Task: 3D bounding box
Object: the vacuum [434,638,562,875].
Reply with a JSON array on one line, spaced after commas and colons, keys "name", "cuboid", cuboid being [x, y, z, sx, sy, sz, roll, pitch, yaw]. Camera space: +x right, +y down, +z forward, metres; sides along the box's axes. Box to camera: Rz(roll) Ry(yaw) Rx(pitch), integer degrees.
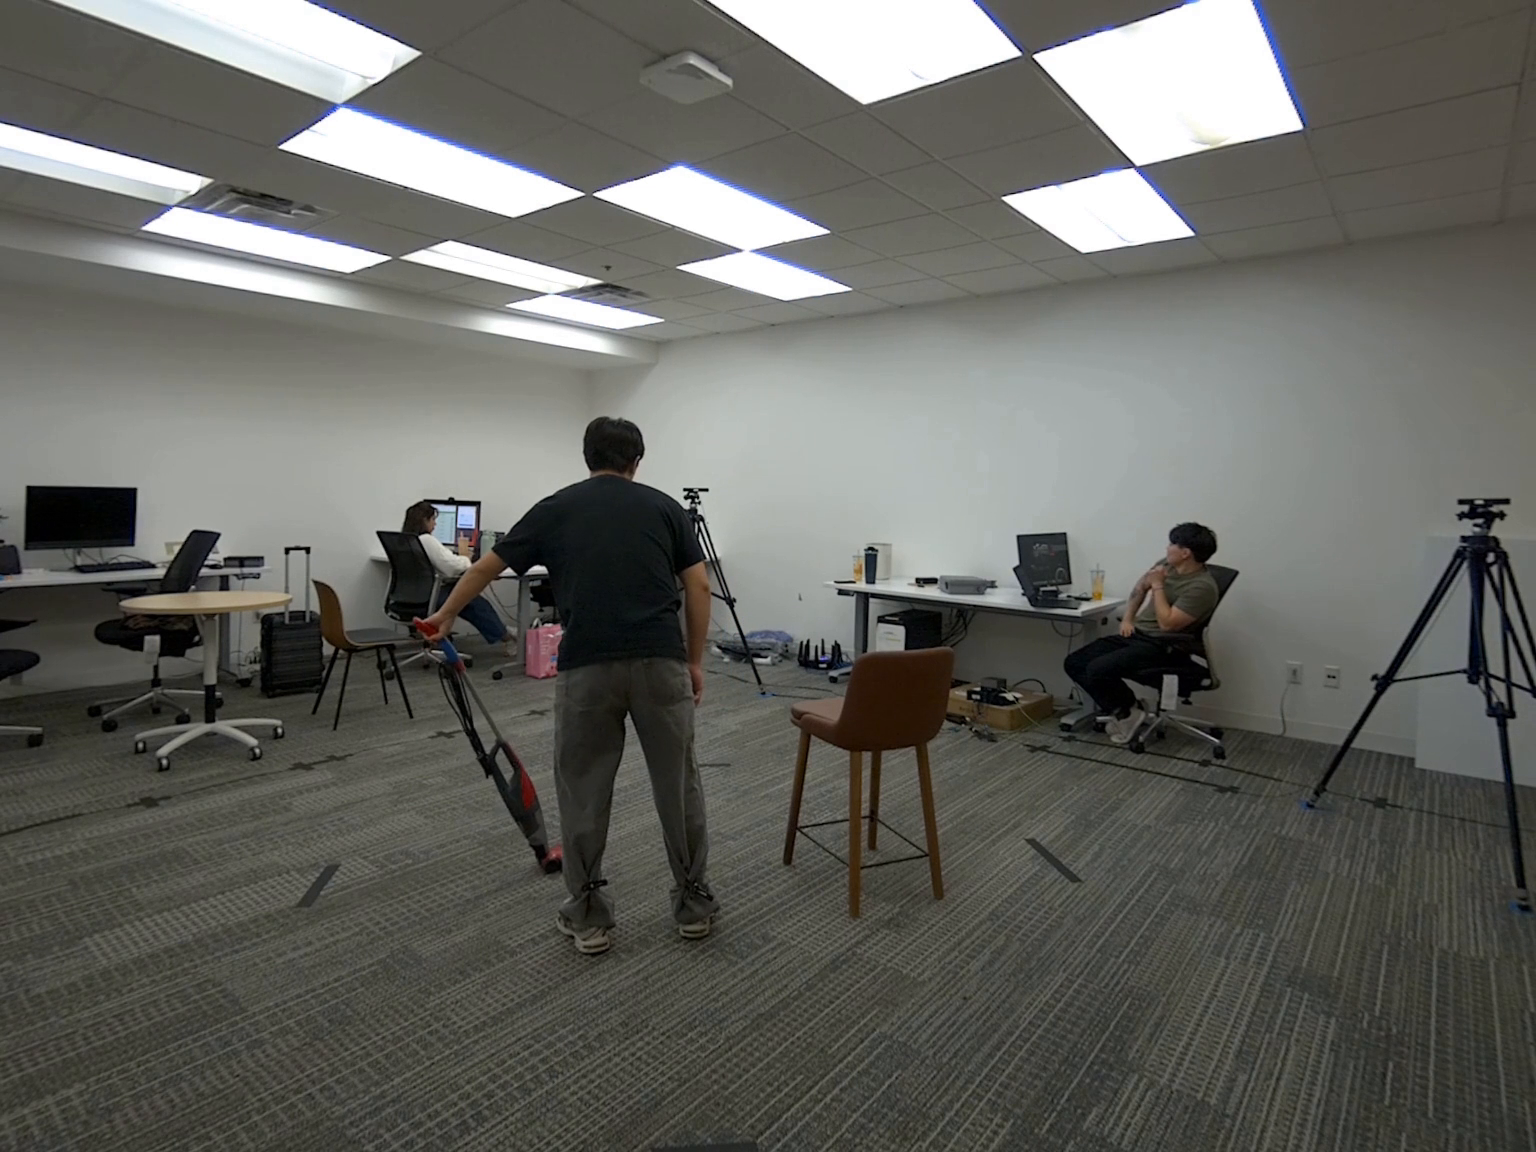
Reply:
[{"name": "vacuum", "cuboid": [-0.981, 0.605, 2.983, 0.143, 1.026, 0.260, -35, 20, -29]}]
